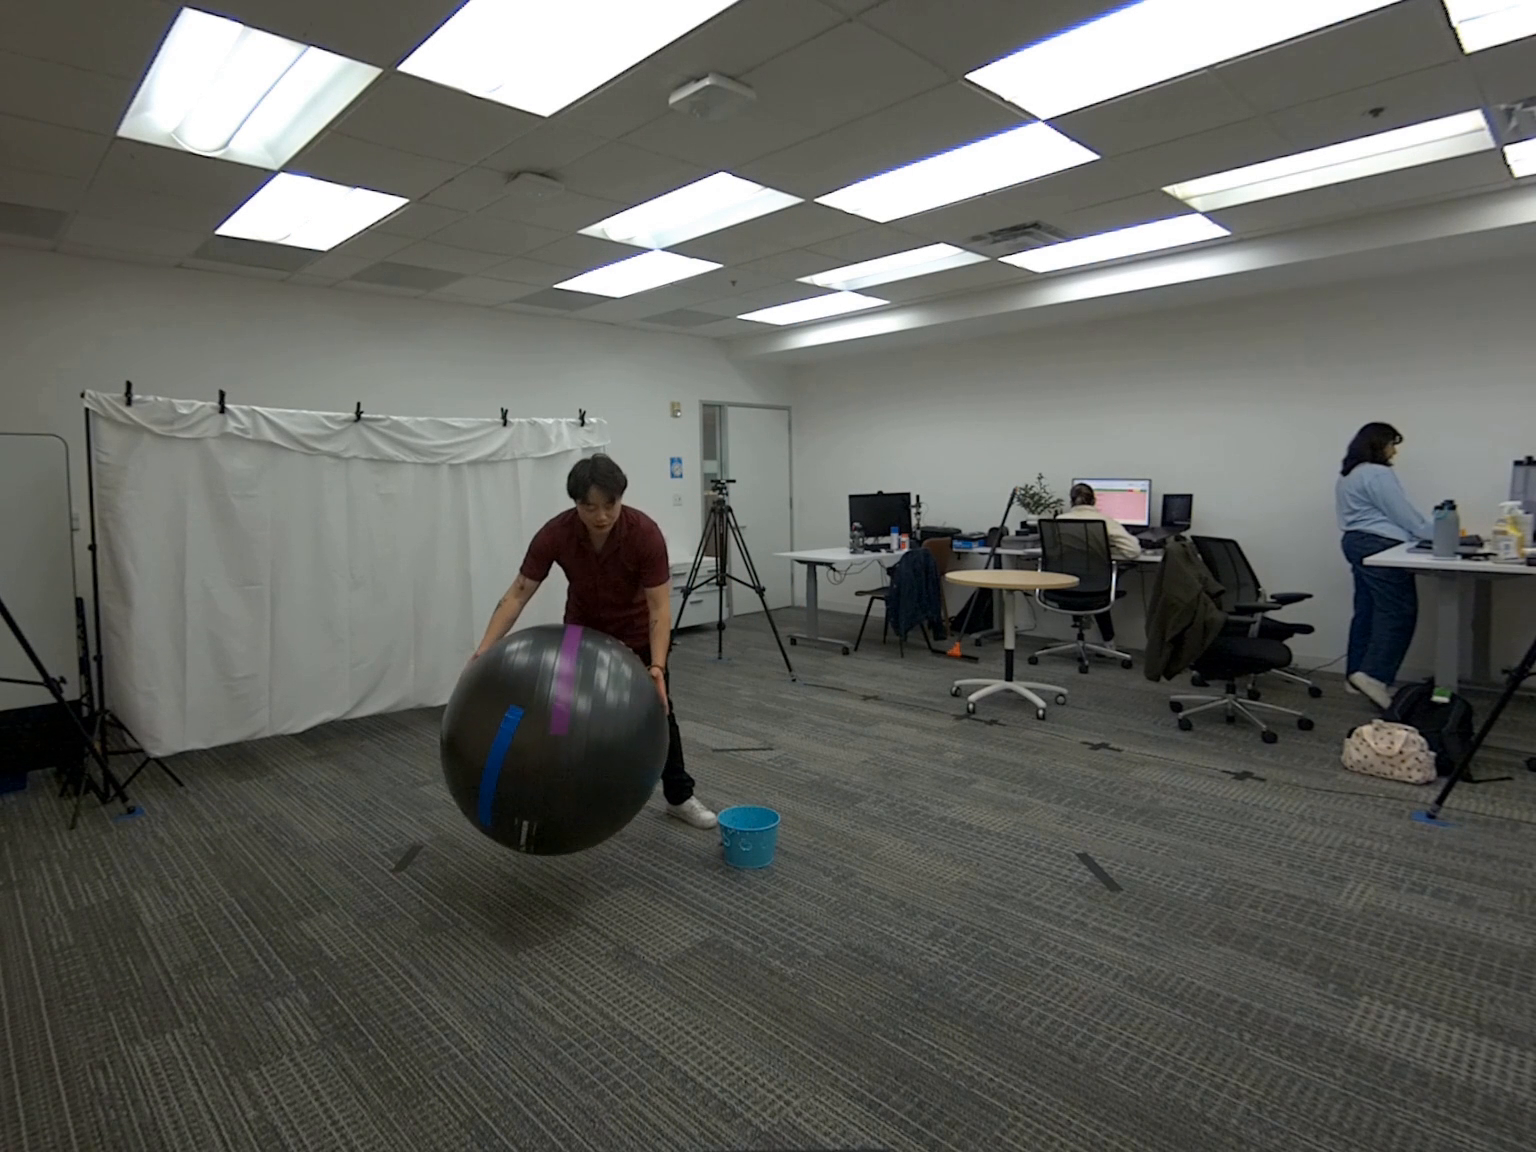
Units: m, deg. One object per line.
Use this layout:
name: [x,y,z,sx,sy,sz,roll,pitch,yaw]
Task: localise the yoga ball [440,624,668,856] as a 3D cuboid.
yoga ball: [-0.716,0.548,2.909,0.757,0.755,0.762,-1,5,-2]
